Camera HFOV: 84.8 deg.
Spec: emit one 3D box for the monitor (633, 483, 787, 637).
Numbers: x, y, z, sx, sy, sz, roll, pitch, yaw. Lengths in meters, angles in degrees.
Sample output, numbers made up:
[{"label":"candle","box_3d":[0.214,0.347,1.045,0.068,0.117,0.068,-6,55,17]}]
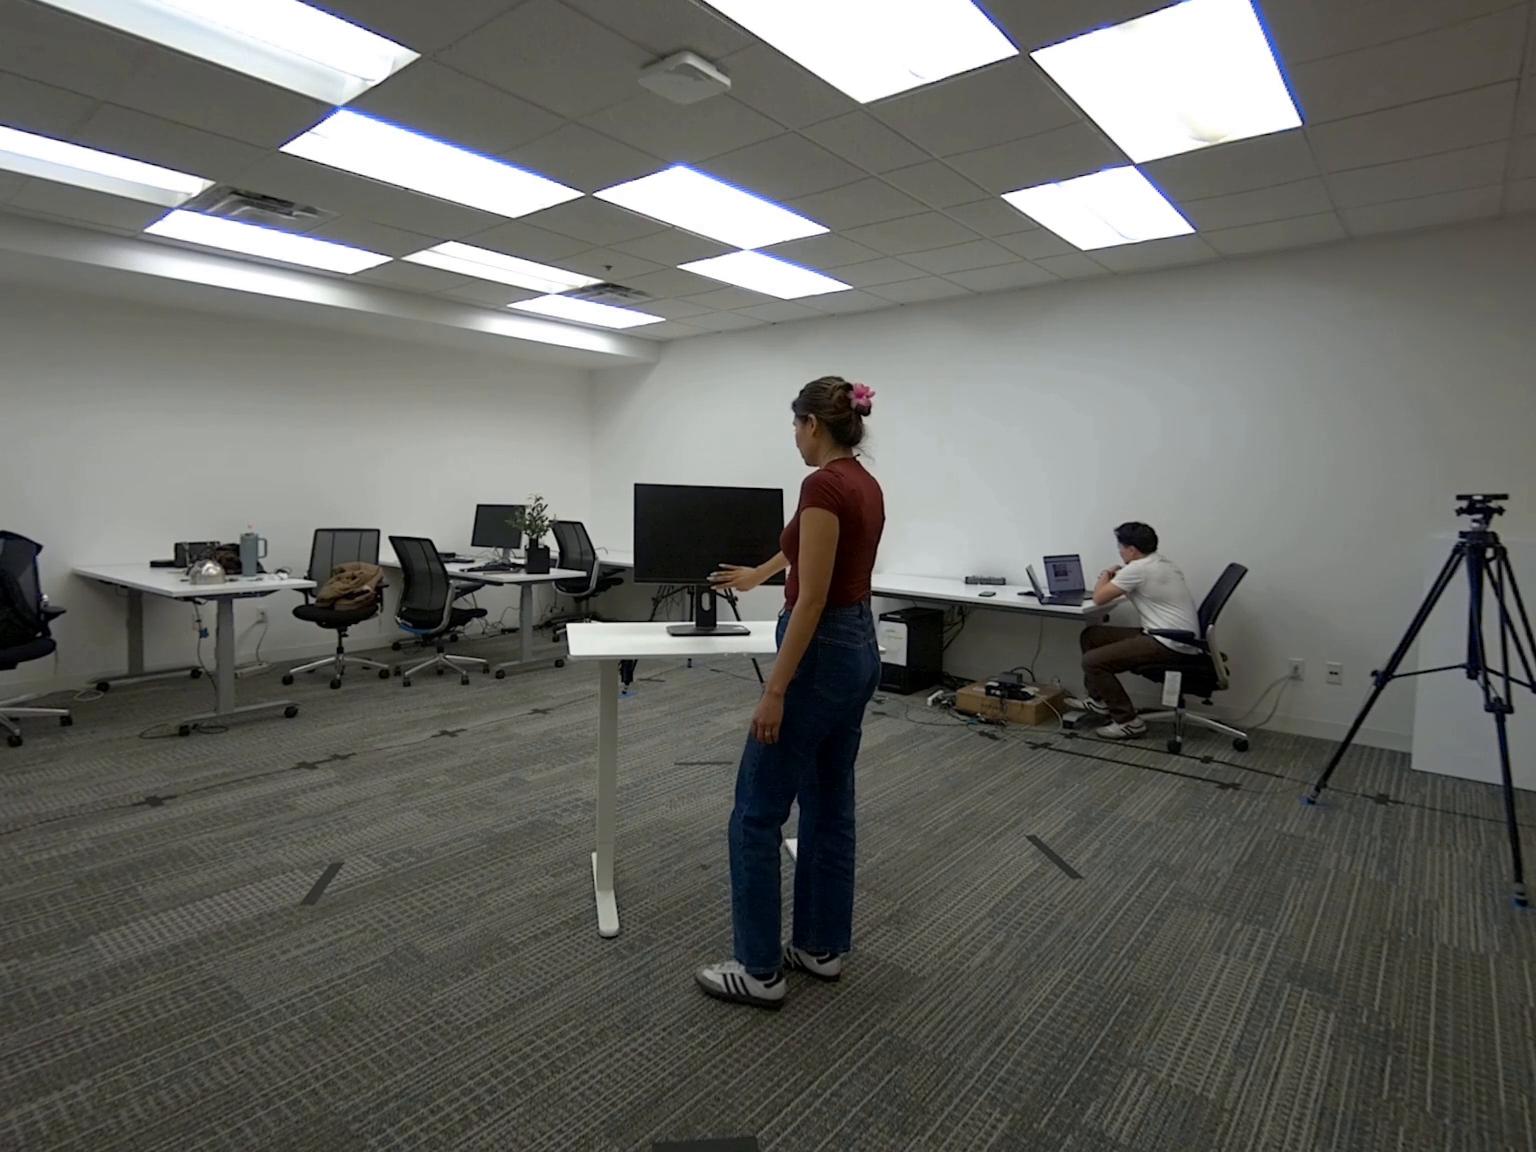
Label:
[{"label":"monitor","box_3d":[-0.223,-0.059,2.993,0.532,0.522,0.190,0,2,-13]}]
